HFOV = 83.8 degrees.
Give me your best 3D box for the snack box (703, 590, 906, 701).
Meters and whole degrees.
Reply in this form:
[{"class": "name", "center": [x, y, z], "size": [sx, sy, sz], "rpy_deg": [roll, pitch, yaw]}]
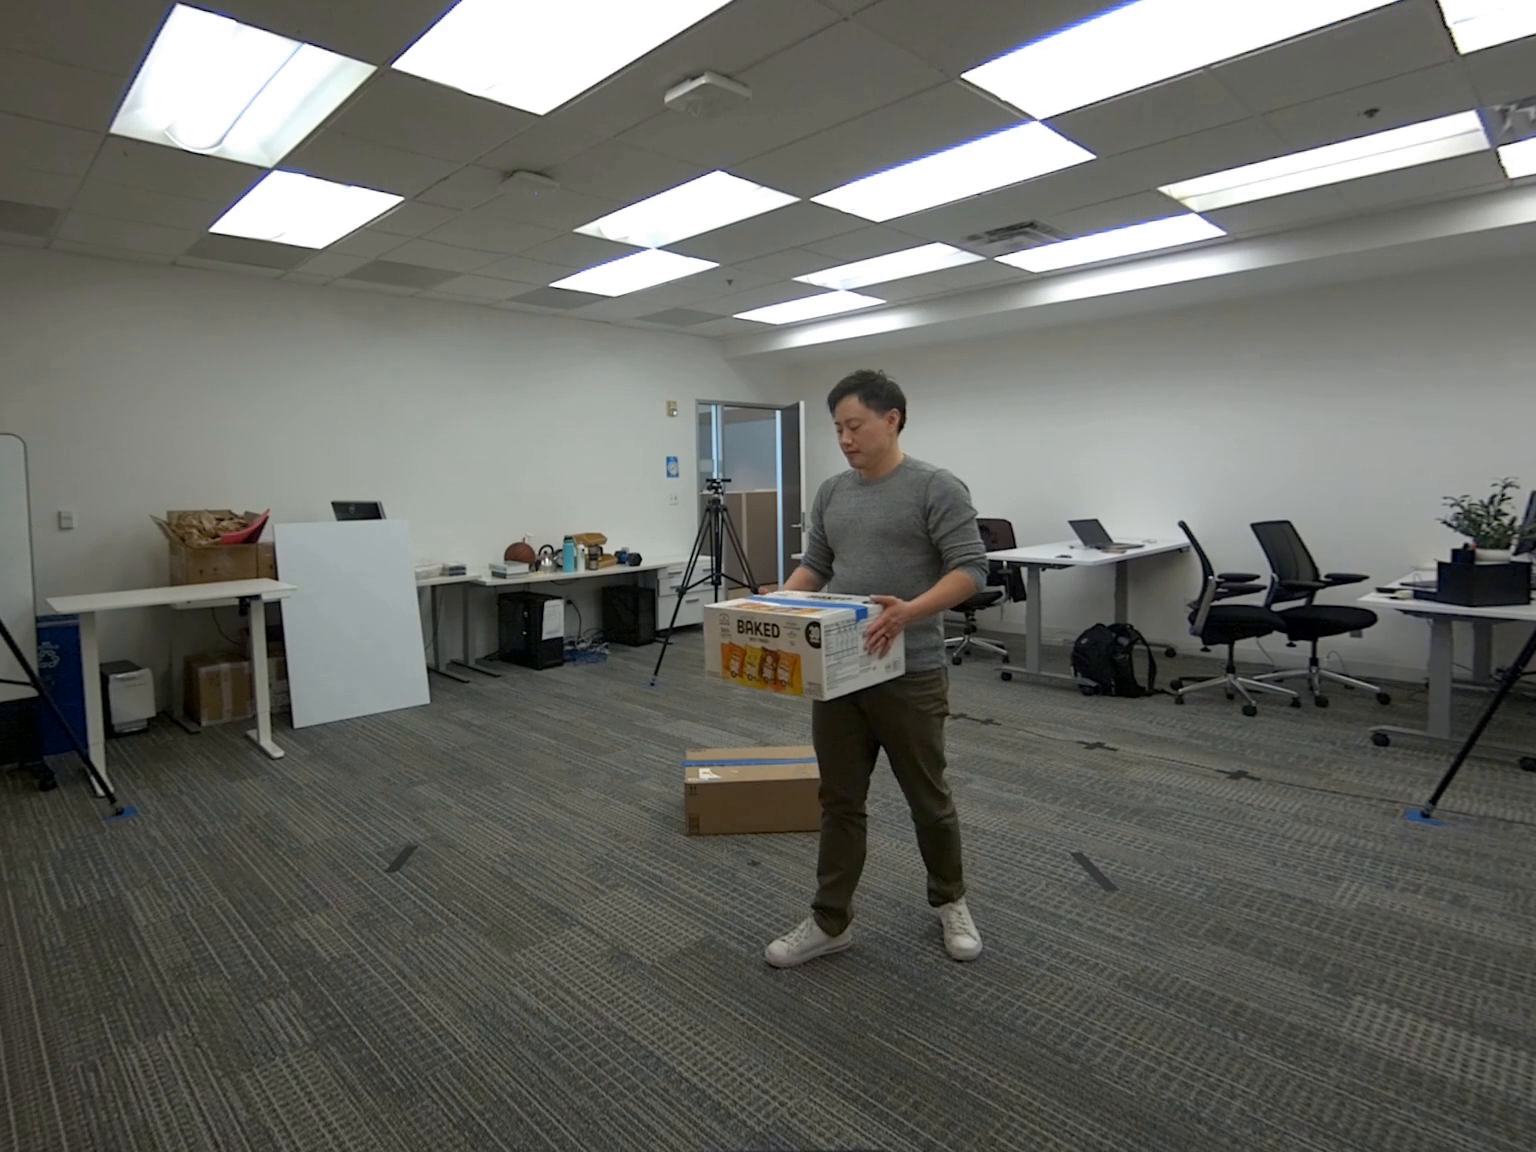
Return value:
[{"class": "snack box", "center": [0.091, 0.169, 2.265], "size": [0.417, 0.205, 0.332], "rpy_deg": [3, 8, 44]}]
